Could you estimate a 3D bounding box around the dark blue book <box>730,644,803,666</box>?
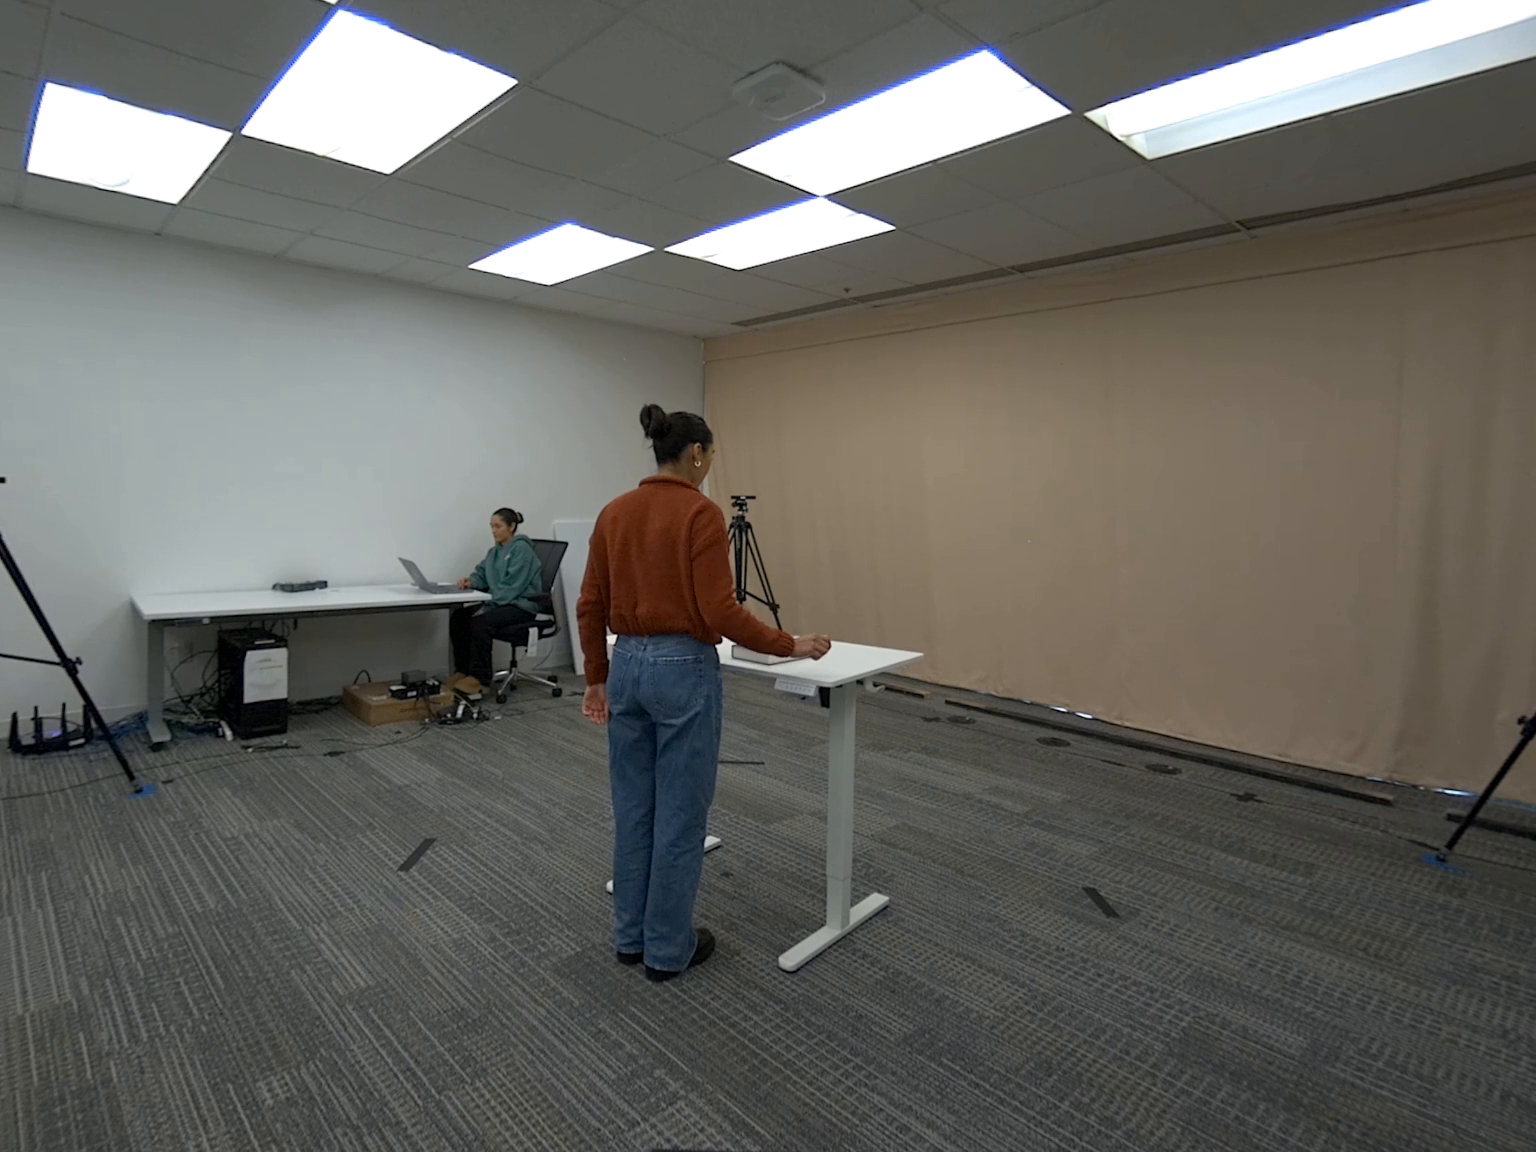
[{"bbox_3d":[0.025,0.244,2.693,0.167,0.045,0.240,5,7,41],"label":"dark blue book"}]
